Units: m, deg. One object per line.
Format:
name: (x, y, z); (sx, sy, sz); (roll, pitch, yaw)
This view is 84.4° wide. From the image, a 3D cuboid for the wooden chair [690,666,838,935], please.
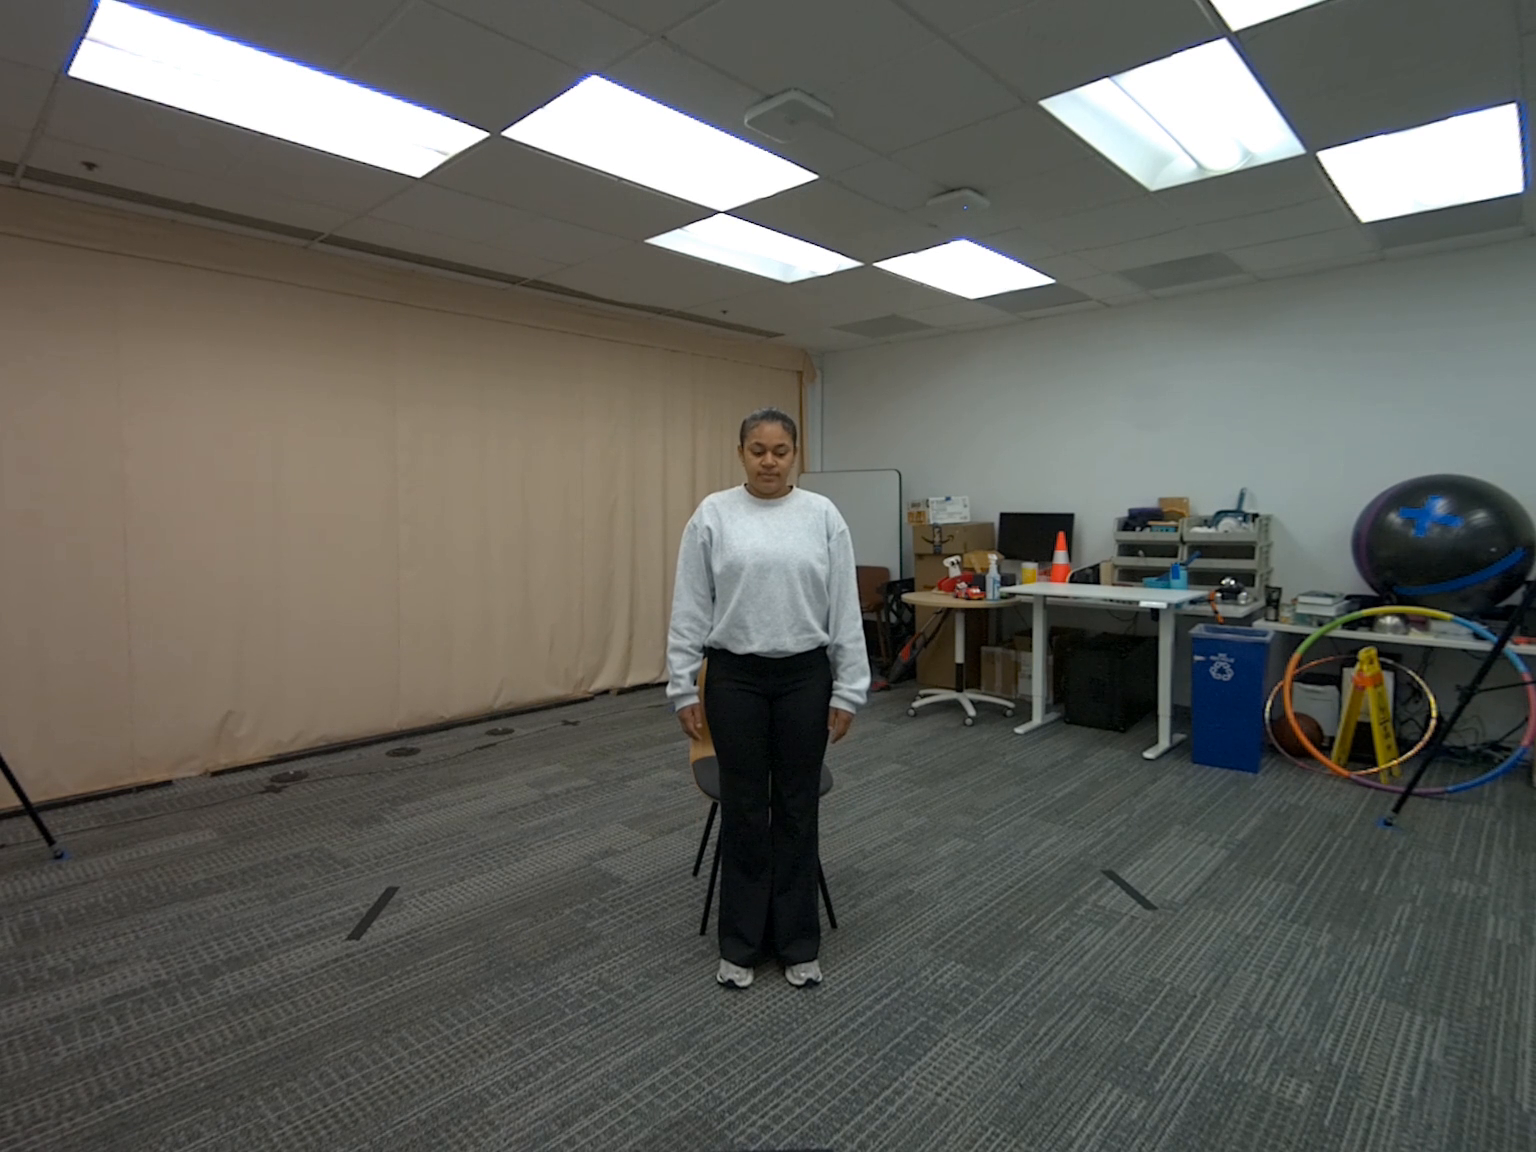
wooden chair: (-0.021, 0.718, 2.935); (0.475, 0.878, 0.527); (0, -1, -8)
